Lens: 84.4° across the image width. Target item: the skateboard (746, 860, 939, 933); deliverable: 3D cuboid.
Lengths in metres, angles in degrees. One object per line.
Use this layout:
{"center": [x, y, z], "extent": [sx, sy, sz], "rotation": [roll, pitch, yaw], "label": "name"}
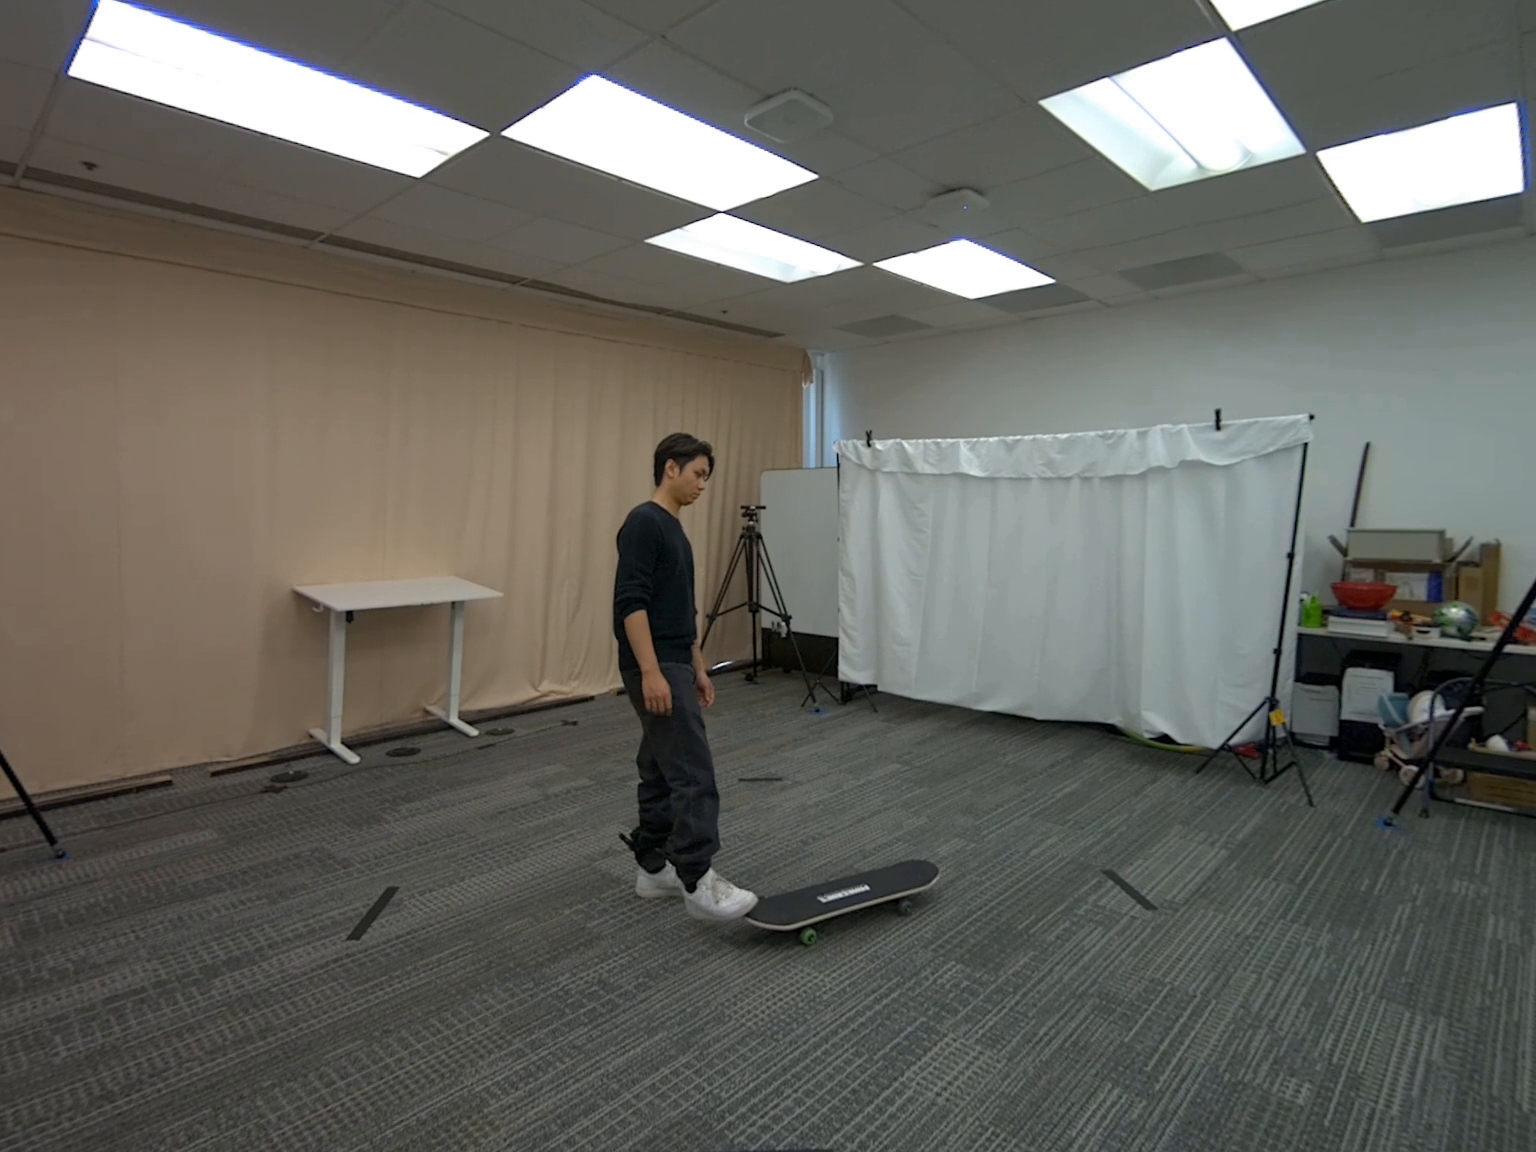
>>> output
{"center": [0.261, 1.098, 2.839], "extent": [0.765, 0.110, 0.199], "rotation": [-3, 5, -29], "label": "skateboard"}
